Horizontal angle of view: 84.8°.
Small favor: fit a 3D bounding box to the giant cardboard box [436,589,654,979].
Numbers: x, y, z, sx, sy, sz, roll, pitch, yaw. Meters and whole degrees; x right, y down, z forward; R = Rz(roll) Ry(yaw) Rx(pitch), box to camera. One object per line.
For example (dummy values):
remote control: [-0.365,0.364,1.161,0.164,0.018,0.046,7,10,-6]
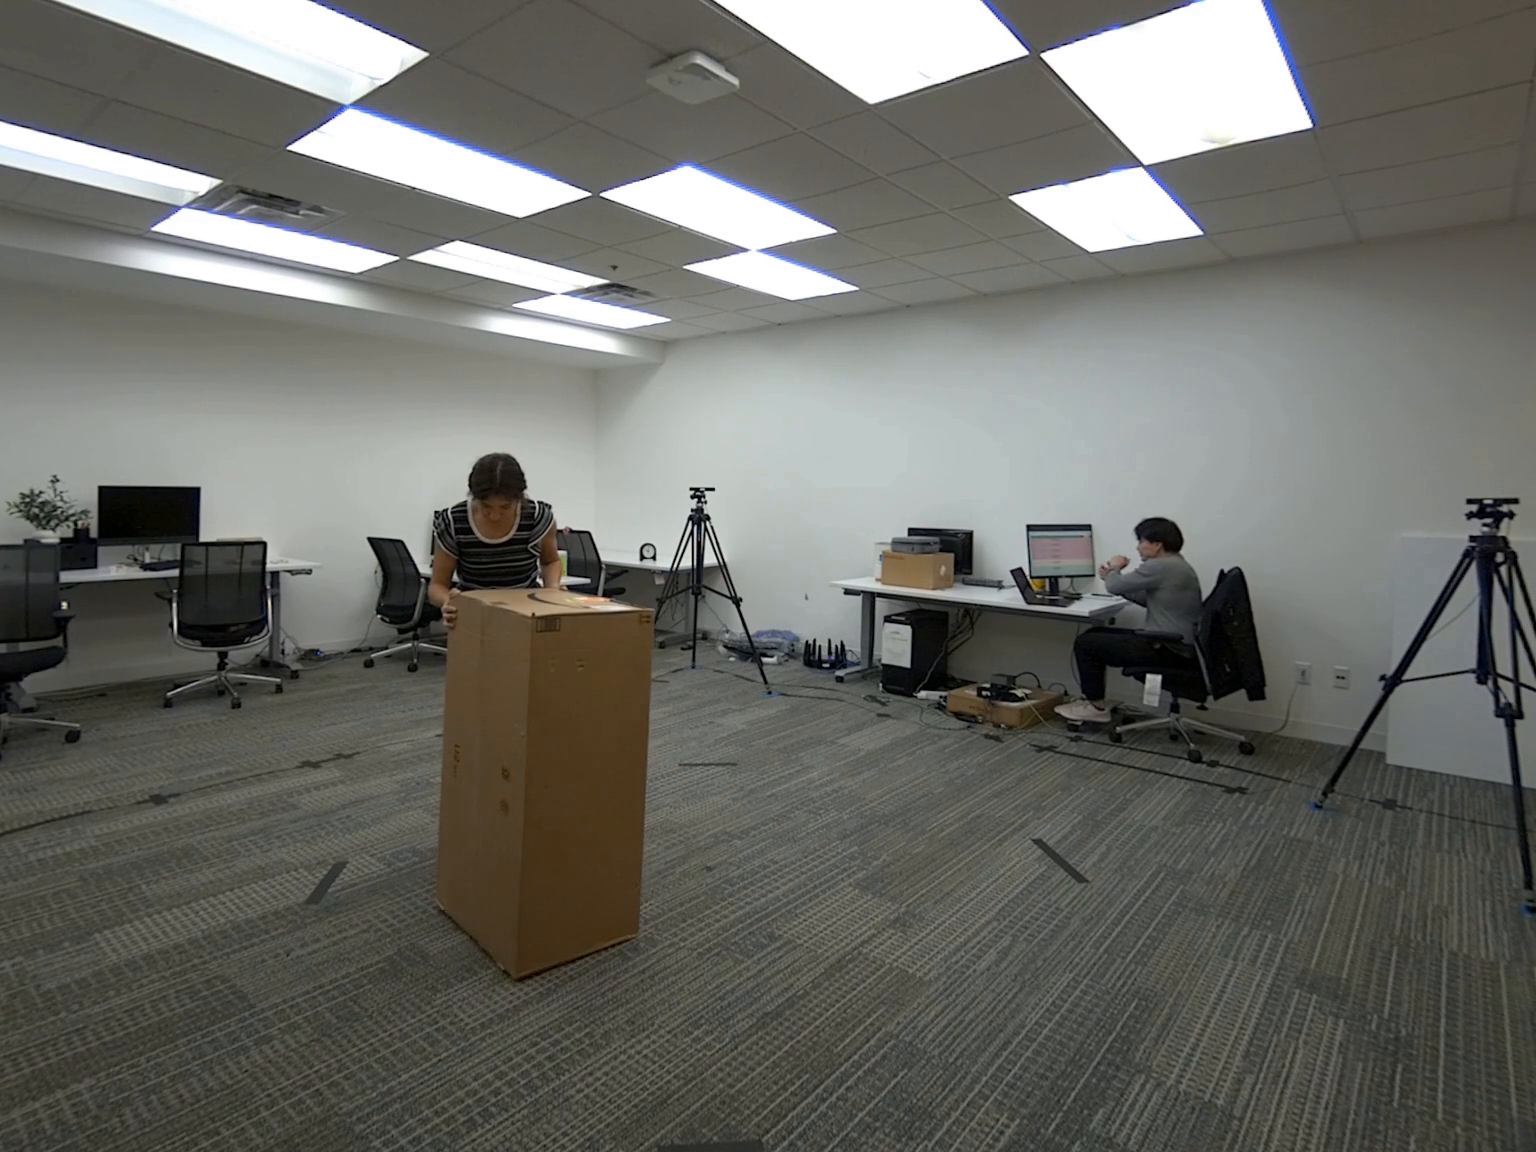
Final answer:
giant cardboard box: [-0.728,0.587,2.701,0.412,1.024,0.597,1,3,-41]
